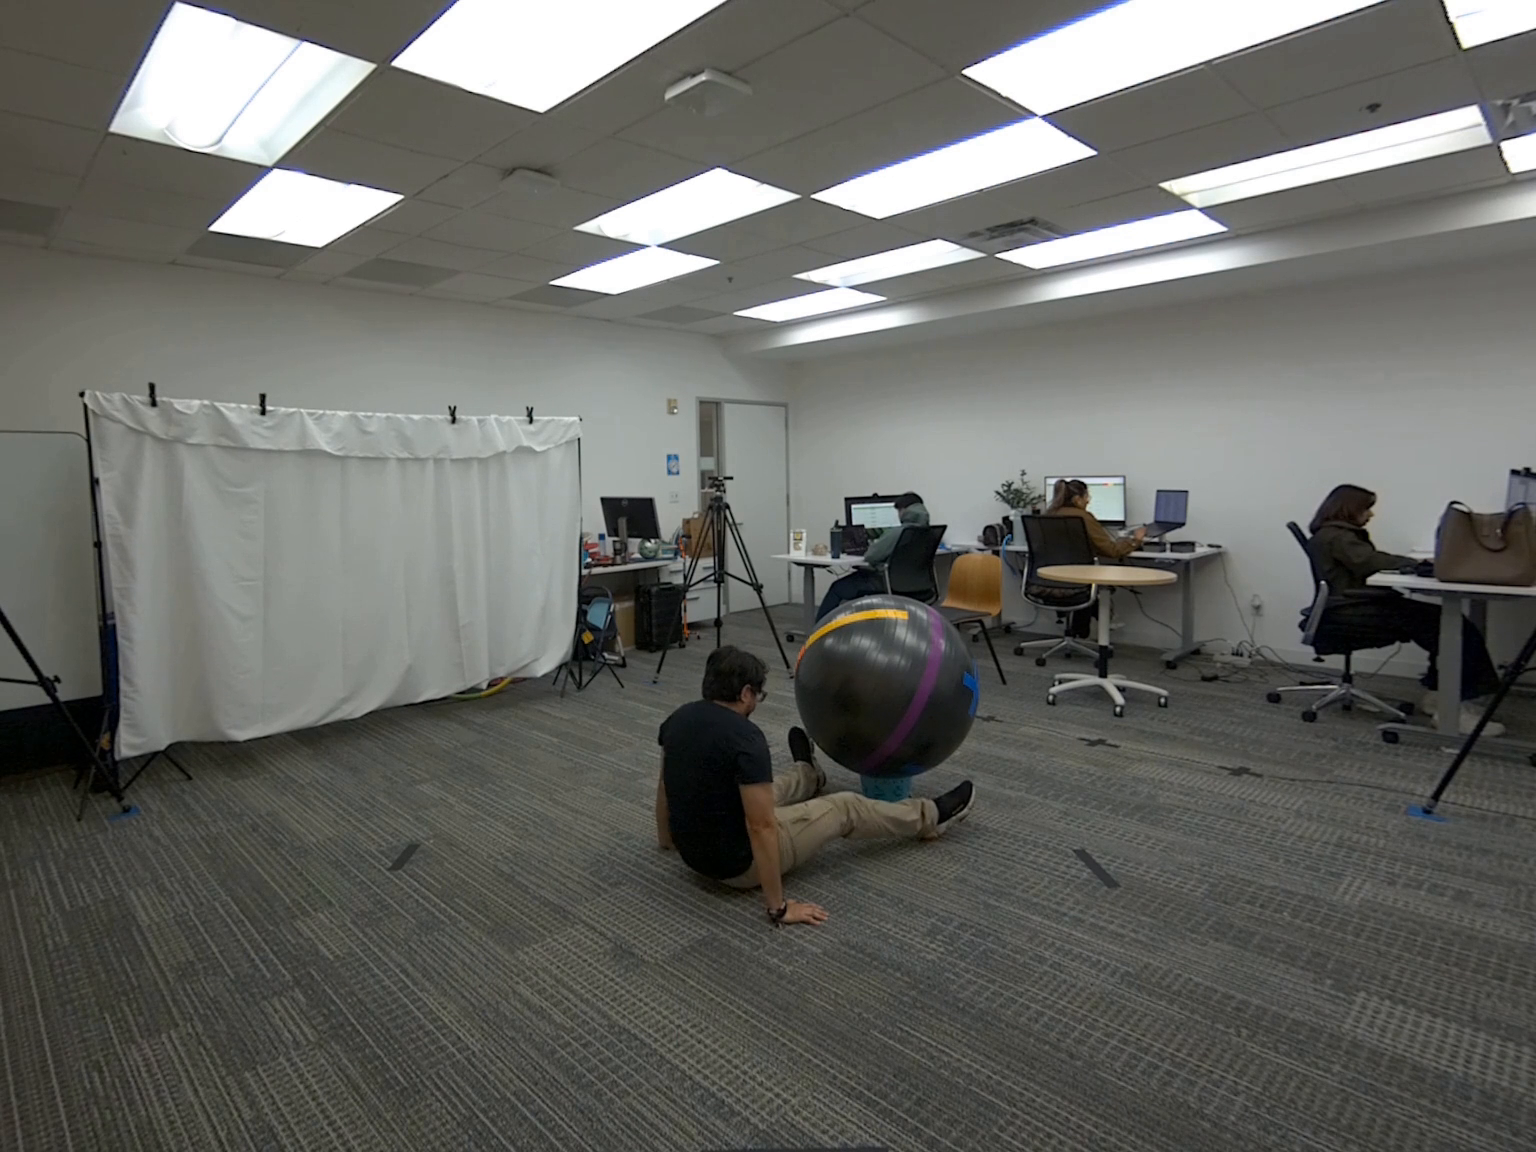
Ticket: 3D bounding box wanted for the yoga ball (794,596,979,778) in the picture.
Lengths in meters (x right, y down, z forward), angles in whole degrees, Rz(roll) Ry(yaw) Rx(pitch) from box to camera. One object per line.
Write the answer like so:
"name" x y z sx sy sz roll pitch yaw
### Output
"yoga ball" 0.493 0.463 3.587 0.757 0.755 0.762 -1 5 -2
